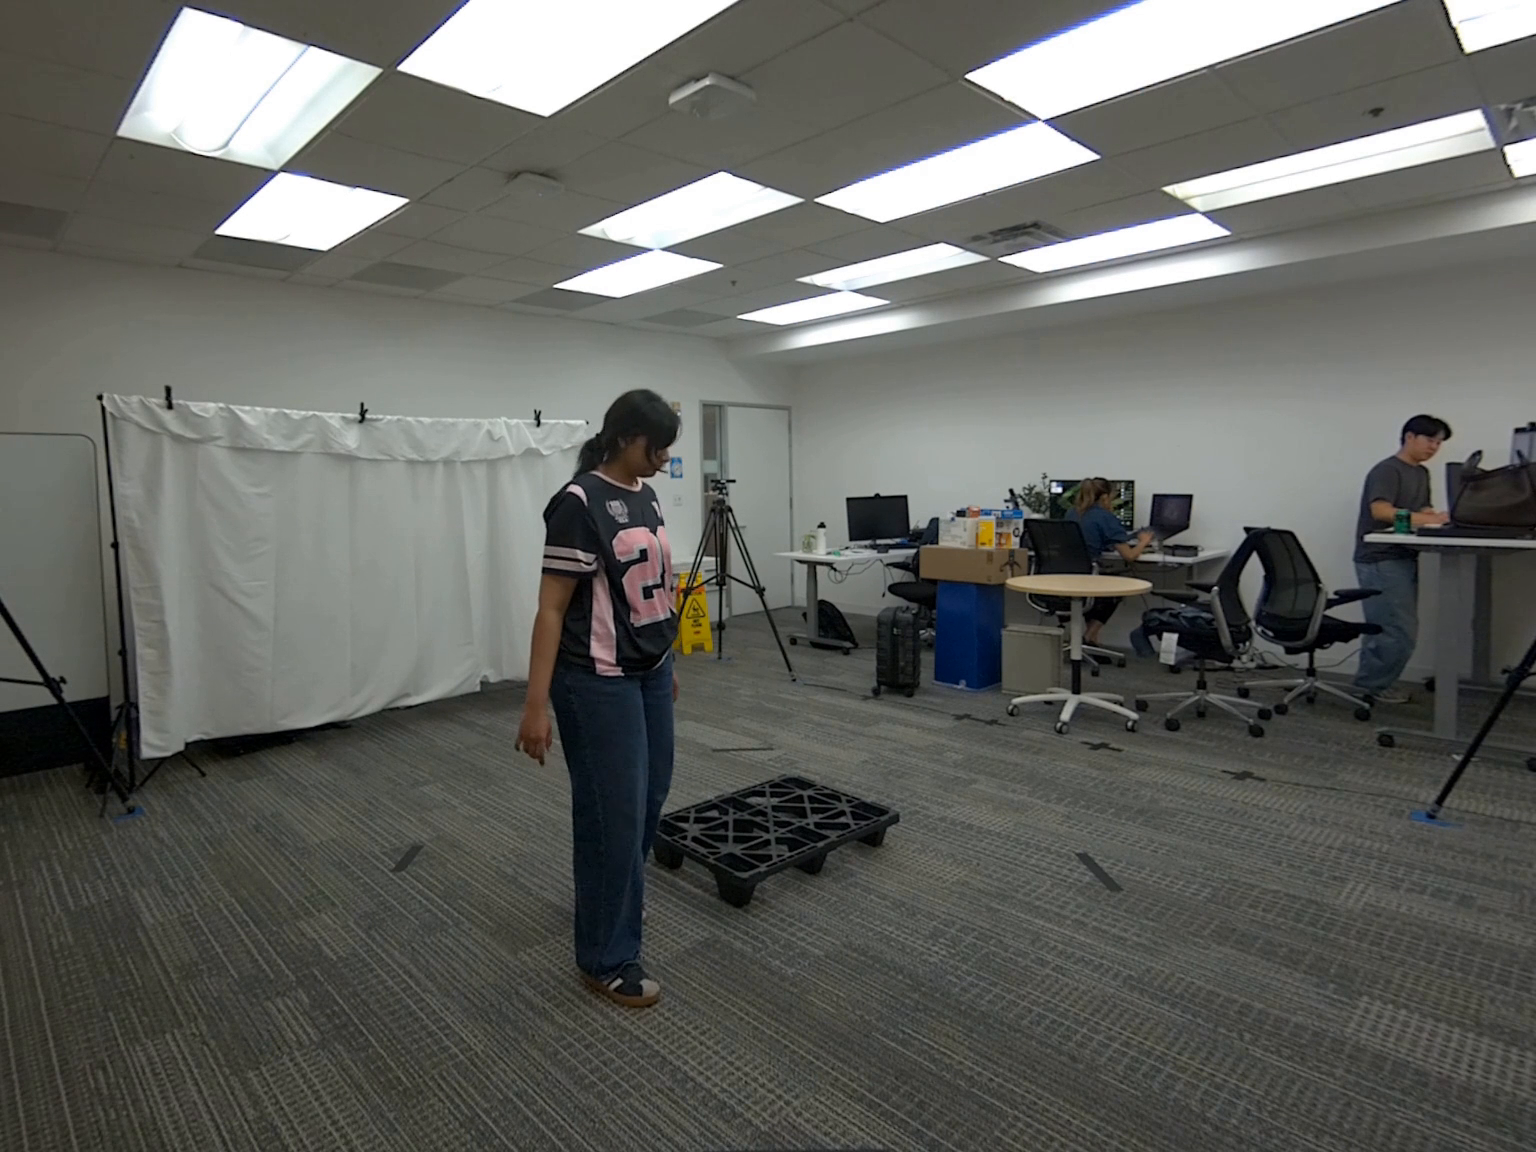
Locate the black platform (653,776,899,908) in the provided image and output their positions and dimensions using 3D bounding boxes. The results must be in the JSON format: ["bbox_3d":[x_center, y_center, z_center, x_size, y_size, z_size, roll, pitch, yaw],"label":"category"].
[{"bbox_3d":[0.021,0.971,3.198,0.785,0.142,0.624,-7,9,-41],"label":"black platform"}]
